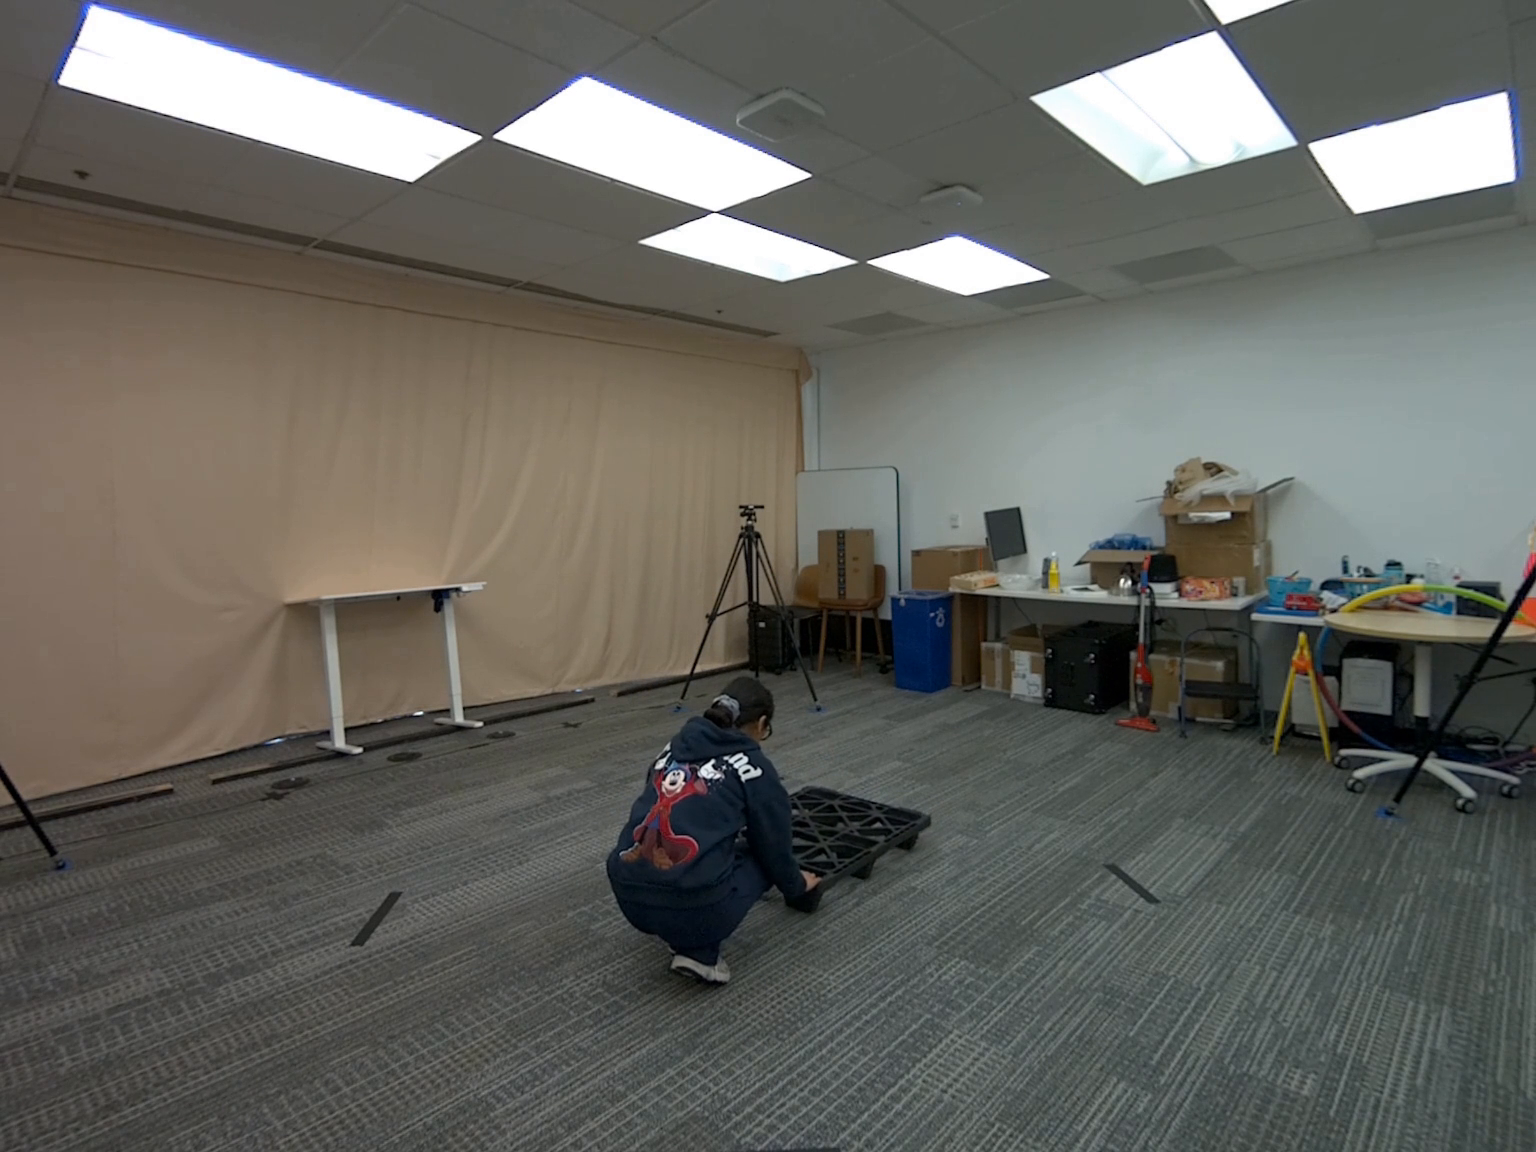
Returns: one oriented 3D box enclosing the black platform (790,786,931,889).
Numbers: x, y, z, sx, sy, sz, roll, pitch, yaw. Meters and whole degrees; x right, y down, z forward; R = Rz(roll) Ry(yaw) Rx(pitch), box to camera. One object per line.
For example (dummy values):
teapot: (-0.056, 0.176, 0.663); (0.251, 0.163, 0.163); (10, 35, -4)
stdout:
black platform: (0.181, 1.046, 3.279); (0.625, 0.143, 0.781); (2, 6, 41)
